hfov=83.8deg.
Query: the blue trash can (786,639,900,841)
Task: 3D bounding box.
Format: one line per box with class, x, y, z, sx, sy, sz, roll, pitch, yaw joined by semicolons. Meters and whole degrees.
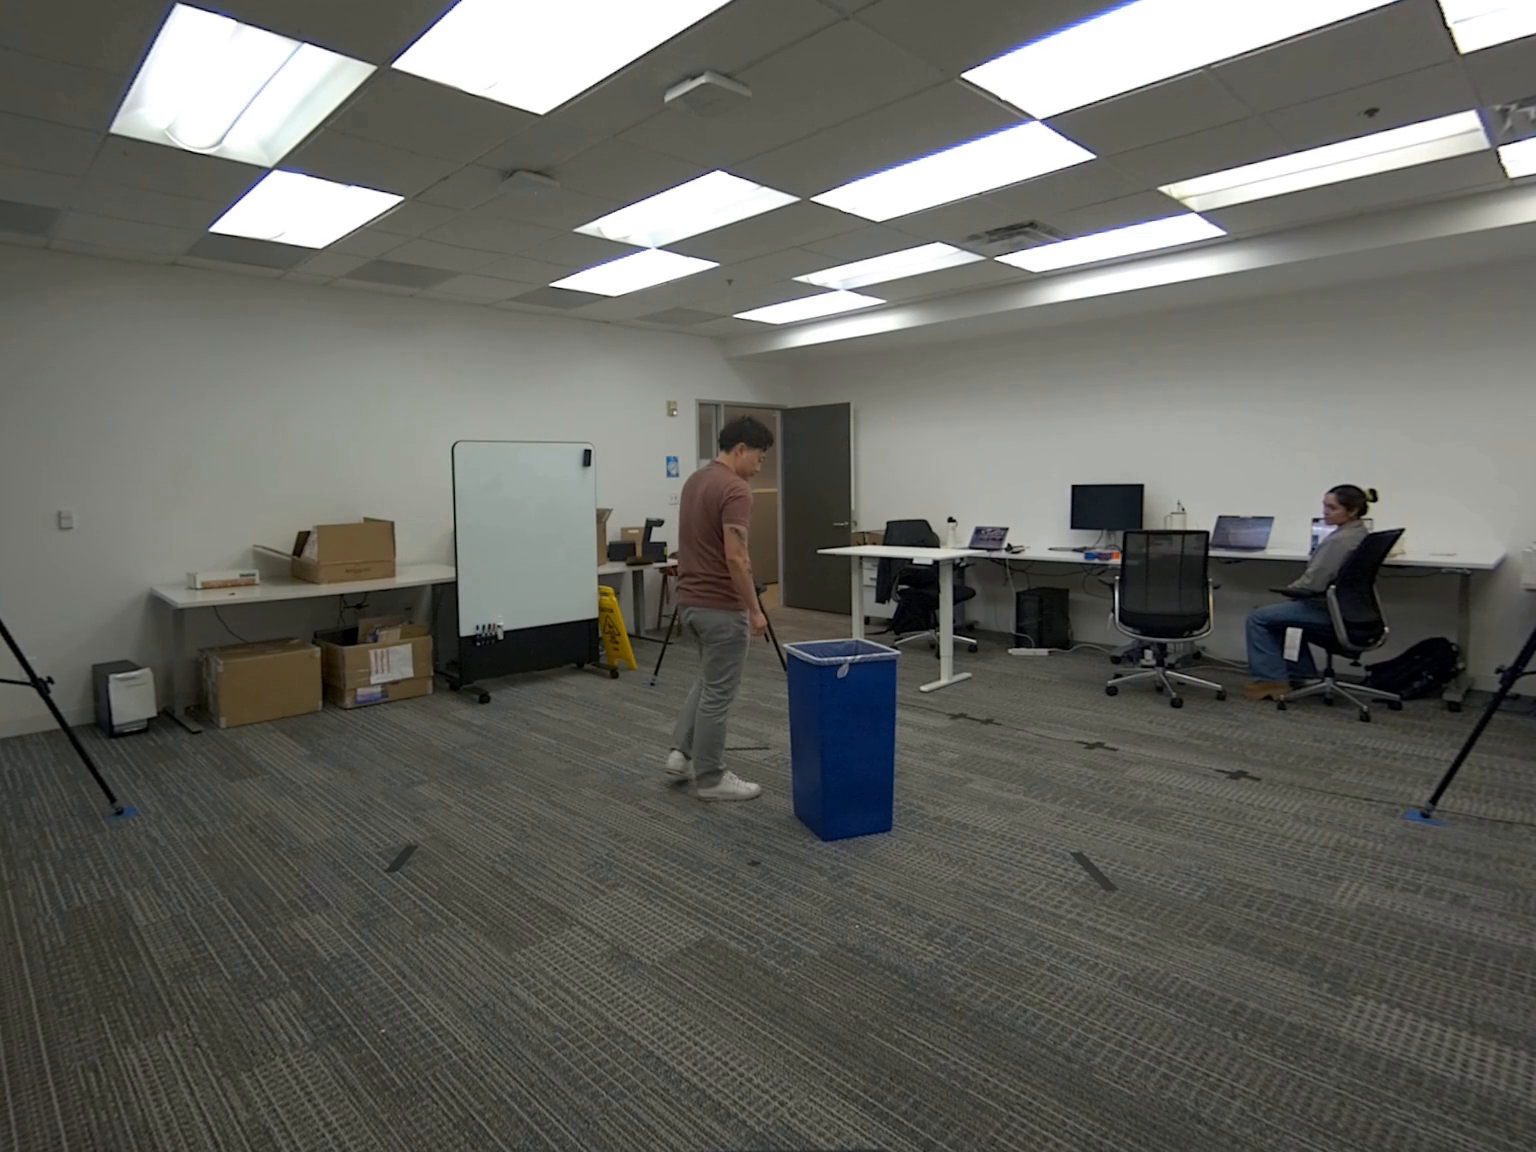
blue trash can;0.291;0.642;3.445;0.371;0.711;0.382;-2;4;-21
